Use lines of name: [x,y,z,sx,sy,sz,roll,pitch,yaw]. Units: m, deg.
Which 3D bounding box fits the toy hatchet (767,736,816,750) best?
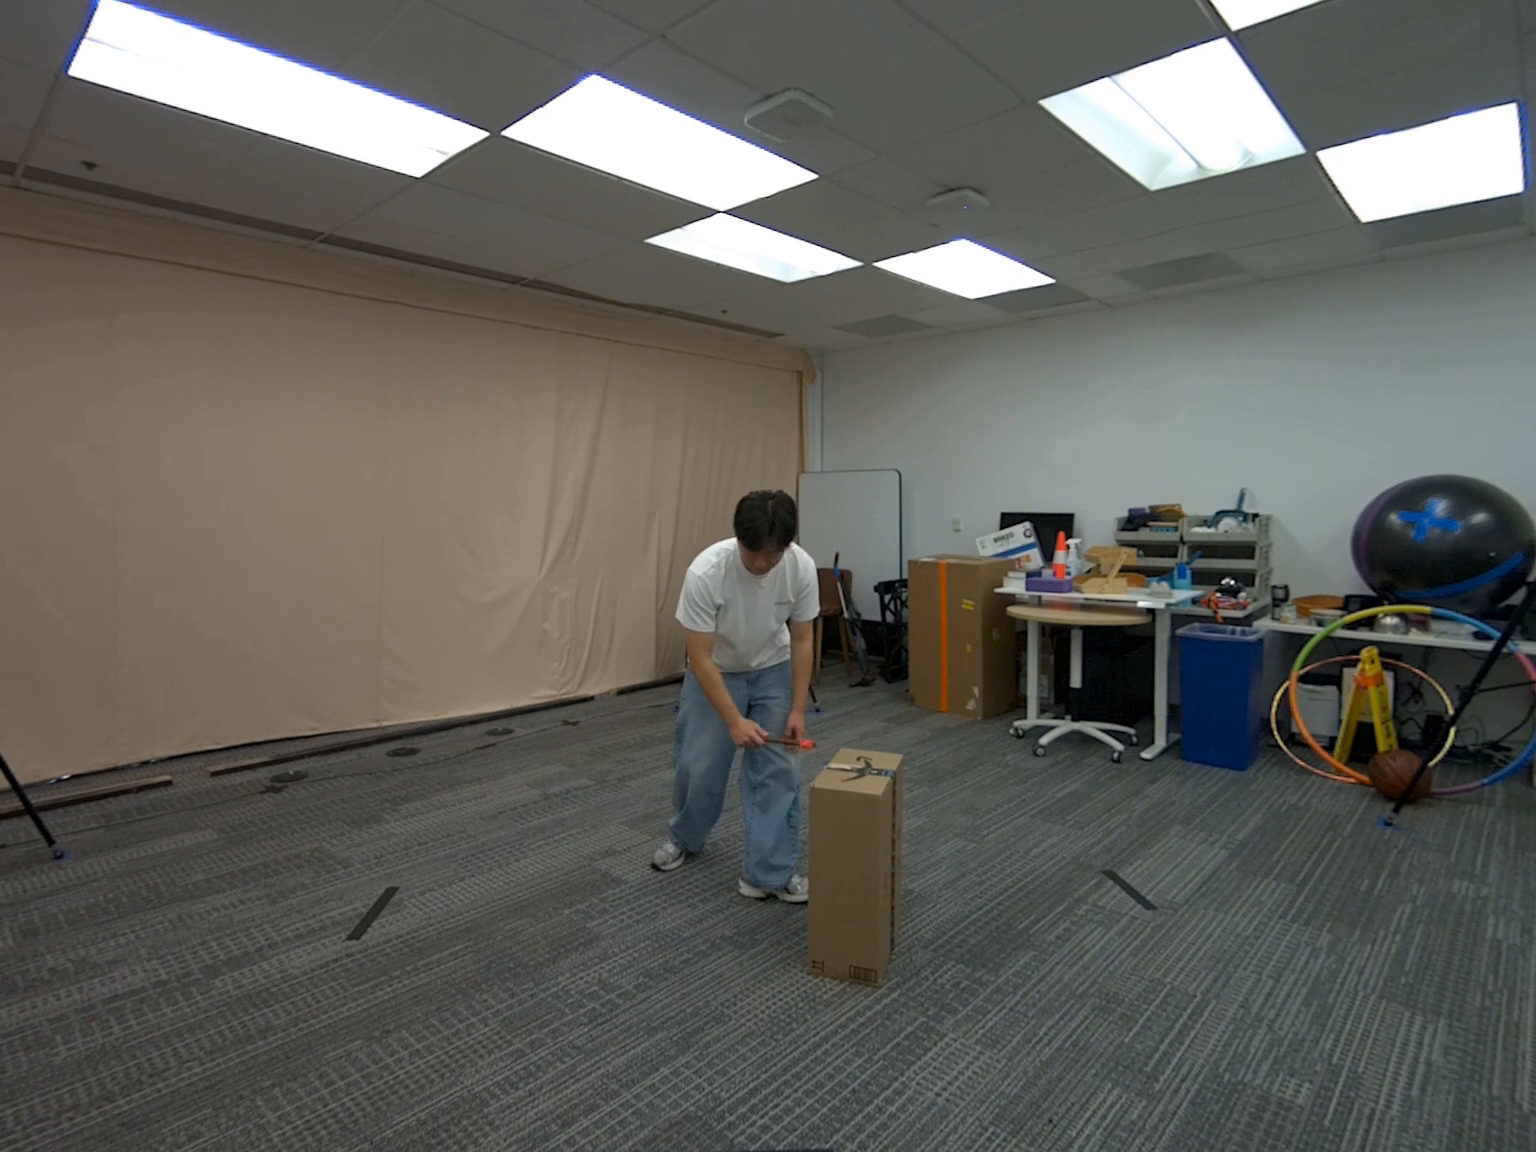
toy hatchet: [0.072,0.561,2.840,0.278,0.030,0.126,-3,-6,45]
